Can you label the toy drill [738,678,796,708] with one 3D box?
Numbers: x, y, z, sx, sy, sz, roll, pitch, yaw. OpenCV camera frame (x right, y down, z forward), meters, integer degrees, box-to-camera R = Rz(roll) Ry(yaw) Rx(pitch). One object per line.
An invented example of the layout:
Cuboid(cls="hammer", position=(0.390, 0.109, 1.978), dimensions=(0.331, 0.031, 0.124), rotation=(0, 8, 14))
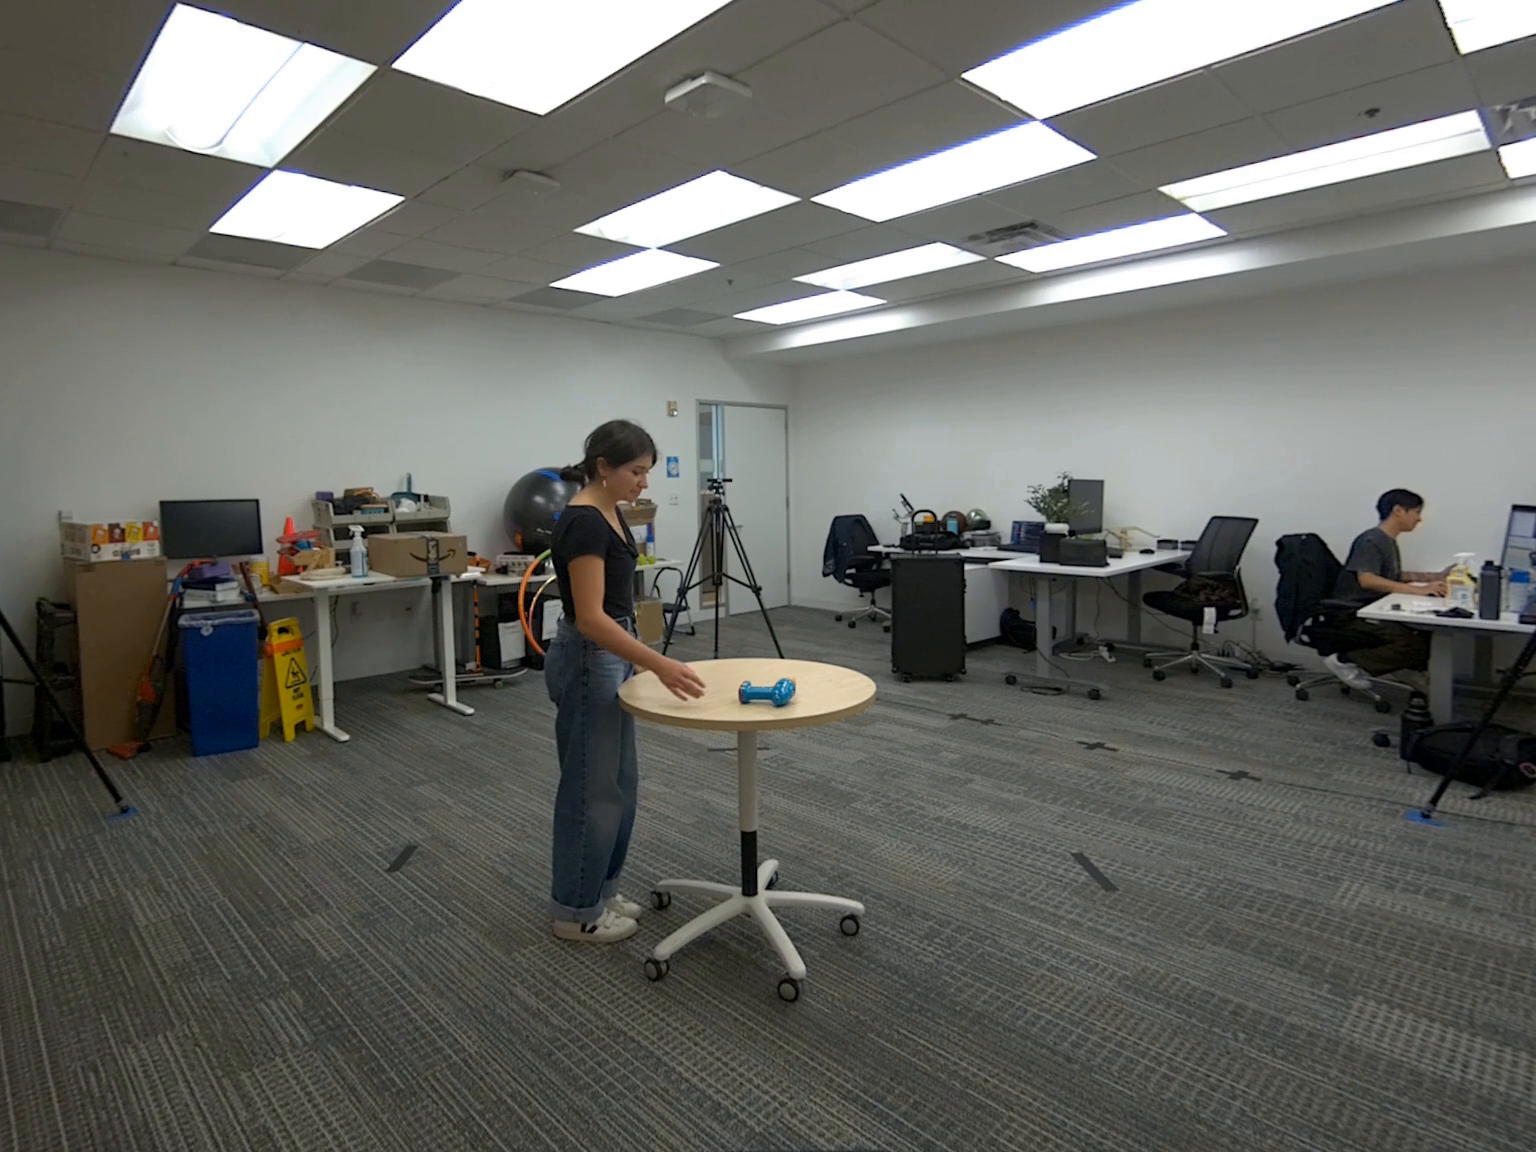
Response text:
Cuboid(cls="toy drill", position=(0.012, 0.317, 2.353), dimensions=(0.149, 0.060, 0.168), rotation=(0, 14, 20))
